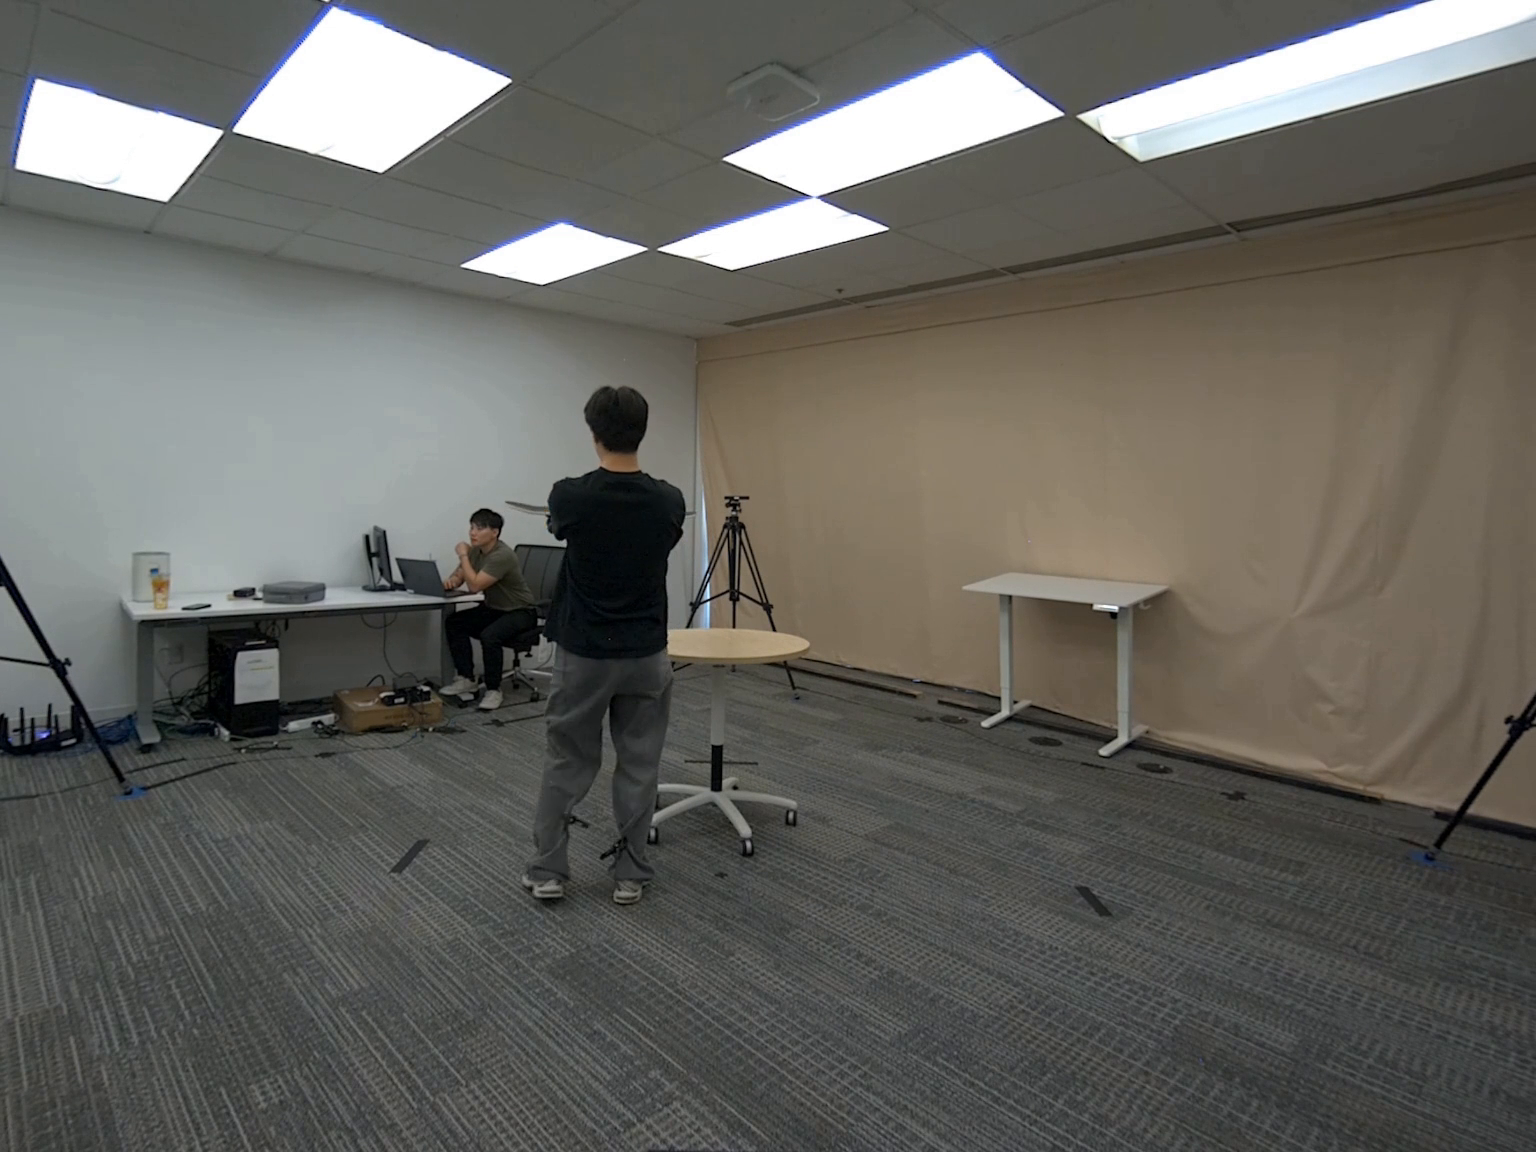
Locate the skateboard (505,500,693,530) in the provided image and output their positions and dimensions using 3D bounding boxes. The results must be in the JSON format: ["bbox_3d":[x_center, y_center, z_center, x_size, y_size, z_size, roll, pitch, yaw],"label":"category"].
[{"bbox_3d":[-0.693,-0.230,3.463,0.774,0.110,0.197,3,9,-18],"label":"skateboard"}]
